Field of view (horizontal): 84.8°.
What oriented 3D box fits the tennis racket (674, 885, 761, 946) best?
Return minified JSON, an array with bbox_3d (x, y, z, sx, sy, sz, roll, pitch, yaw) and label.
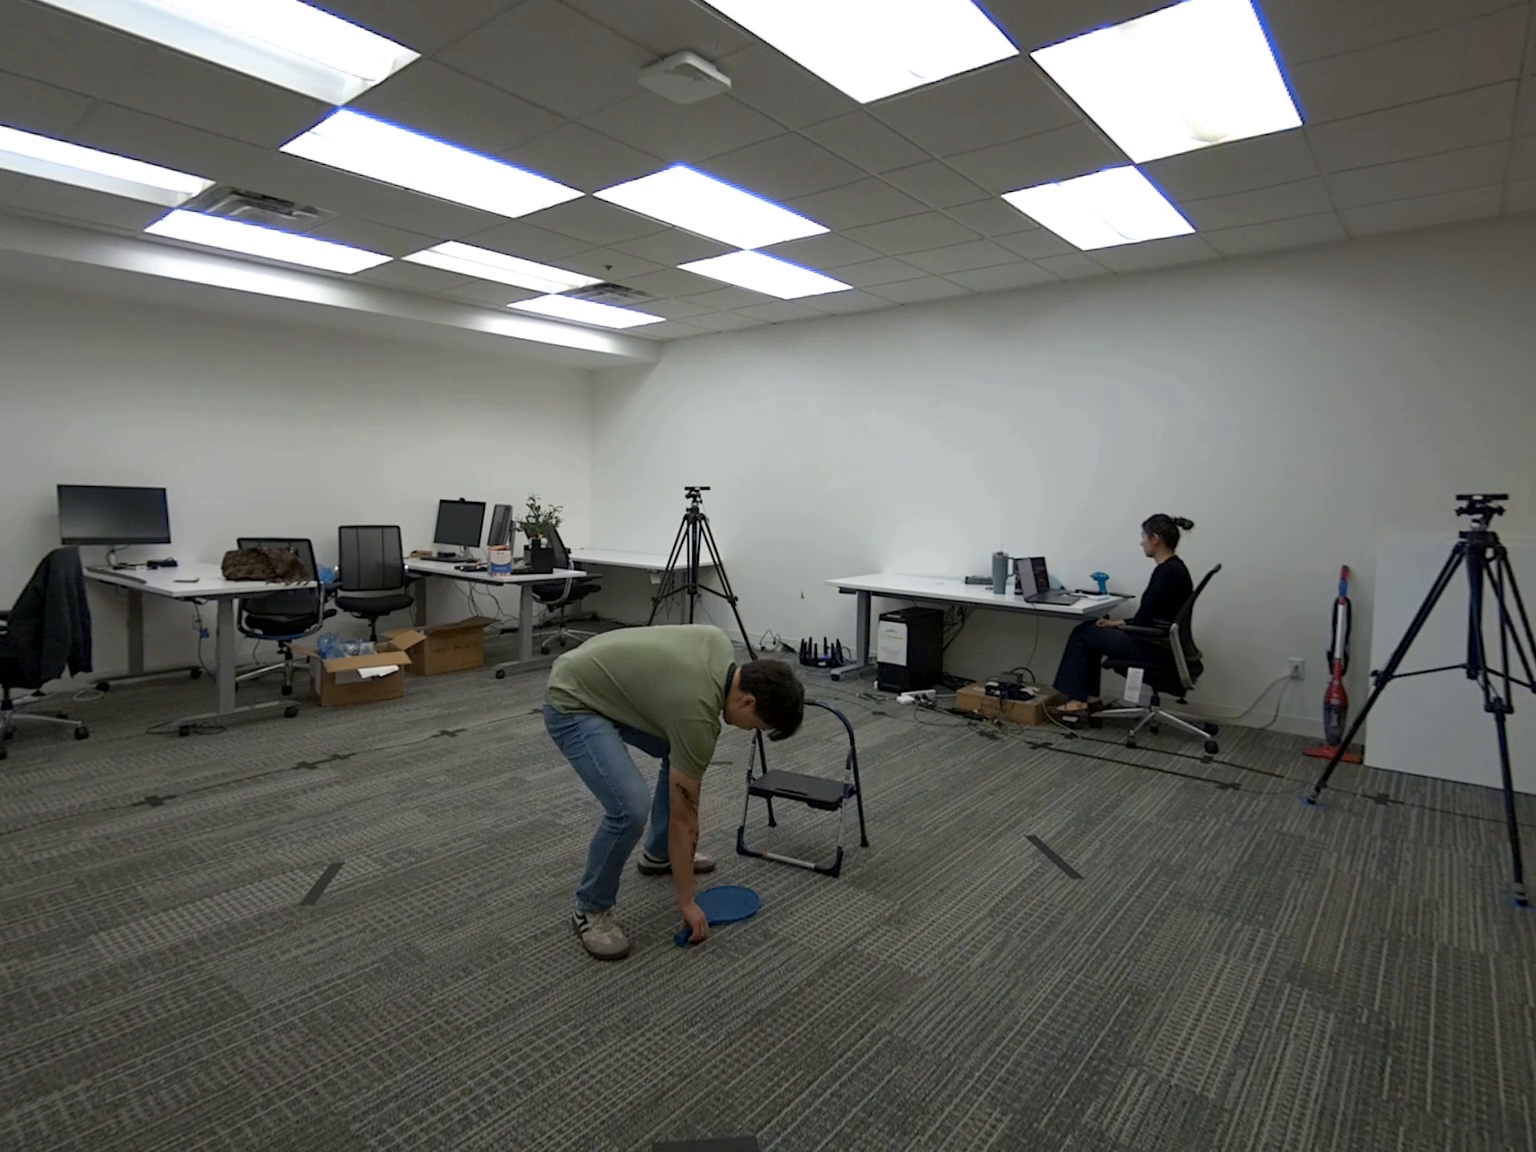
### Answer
[{"bbox_3d":[-0.179,1.080,2.754,0.219,0.032,0.422,4,4,26],"label":"tennis racket"}]
